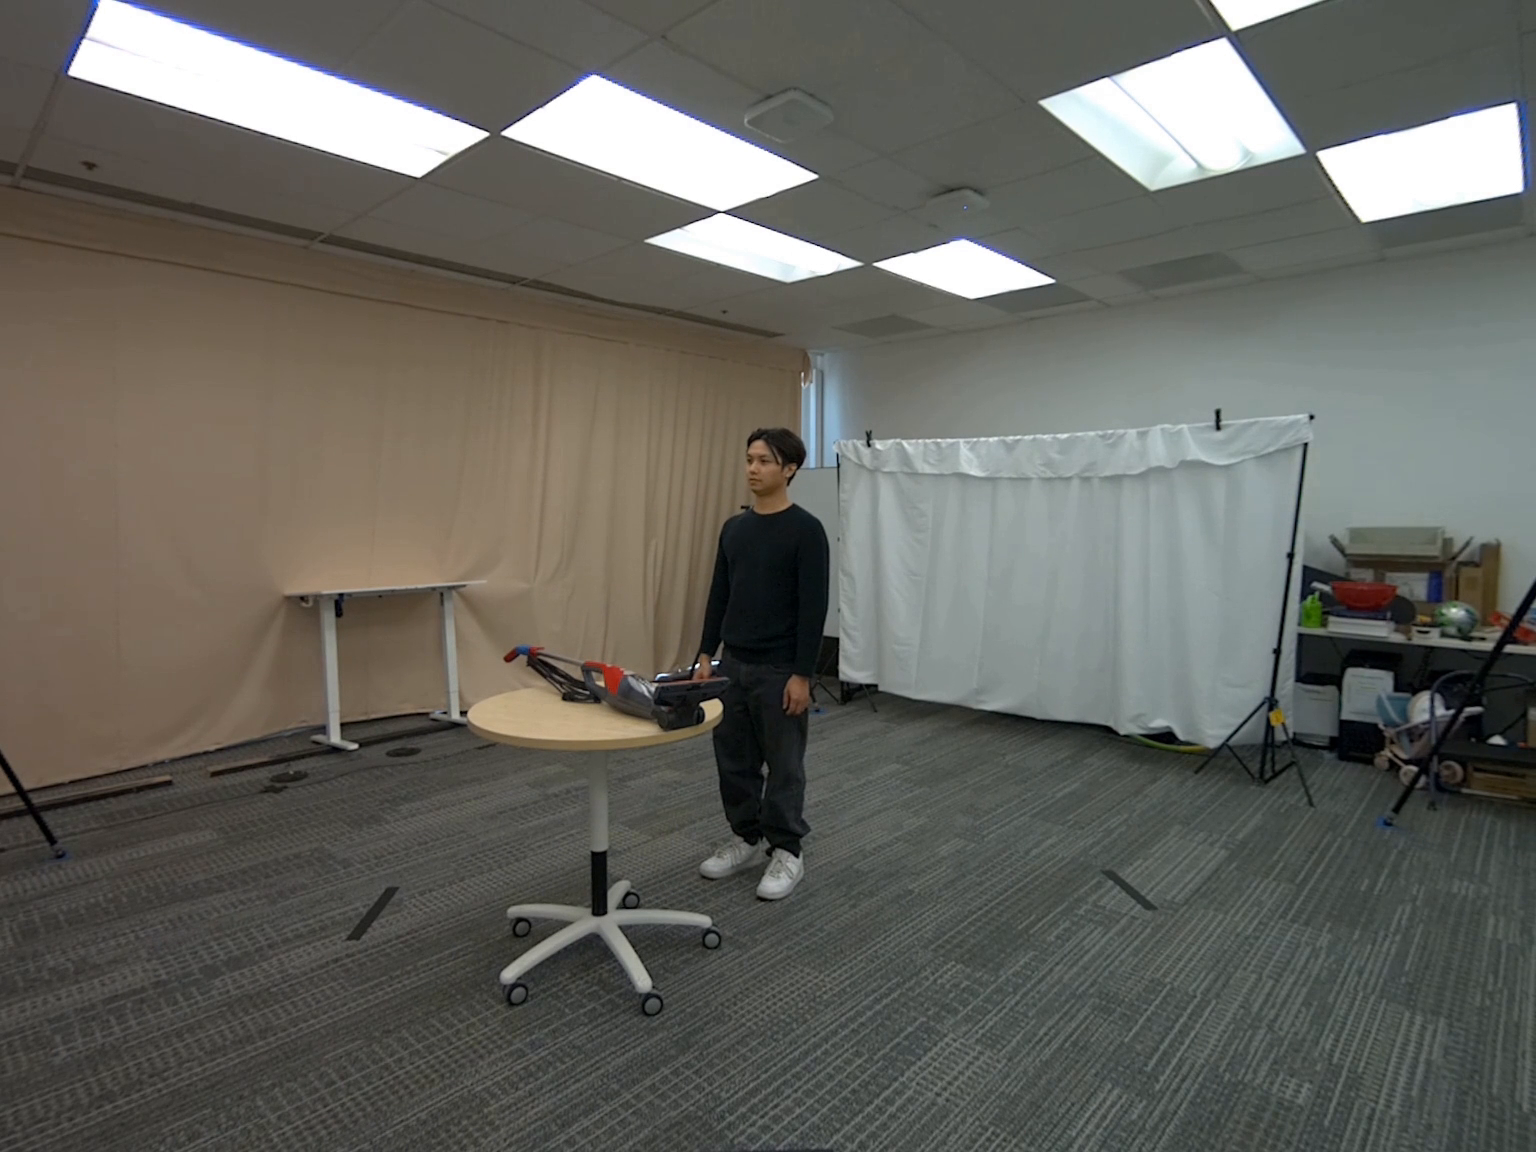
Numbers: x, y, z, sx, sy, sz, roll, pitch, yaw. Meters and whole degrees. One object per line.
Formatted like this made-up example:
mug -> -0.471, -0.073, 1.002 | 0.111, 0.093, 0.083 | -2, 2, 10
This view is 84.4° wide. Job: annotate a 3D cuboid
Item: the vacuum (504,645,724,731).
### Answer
vacuum -> -0.602, 0.334, 2.687 | 0.244, 0.144, 1.084 | 6, 0, -41
